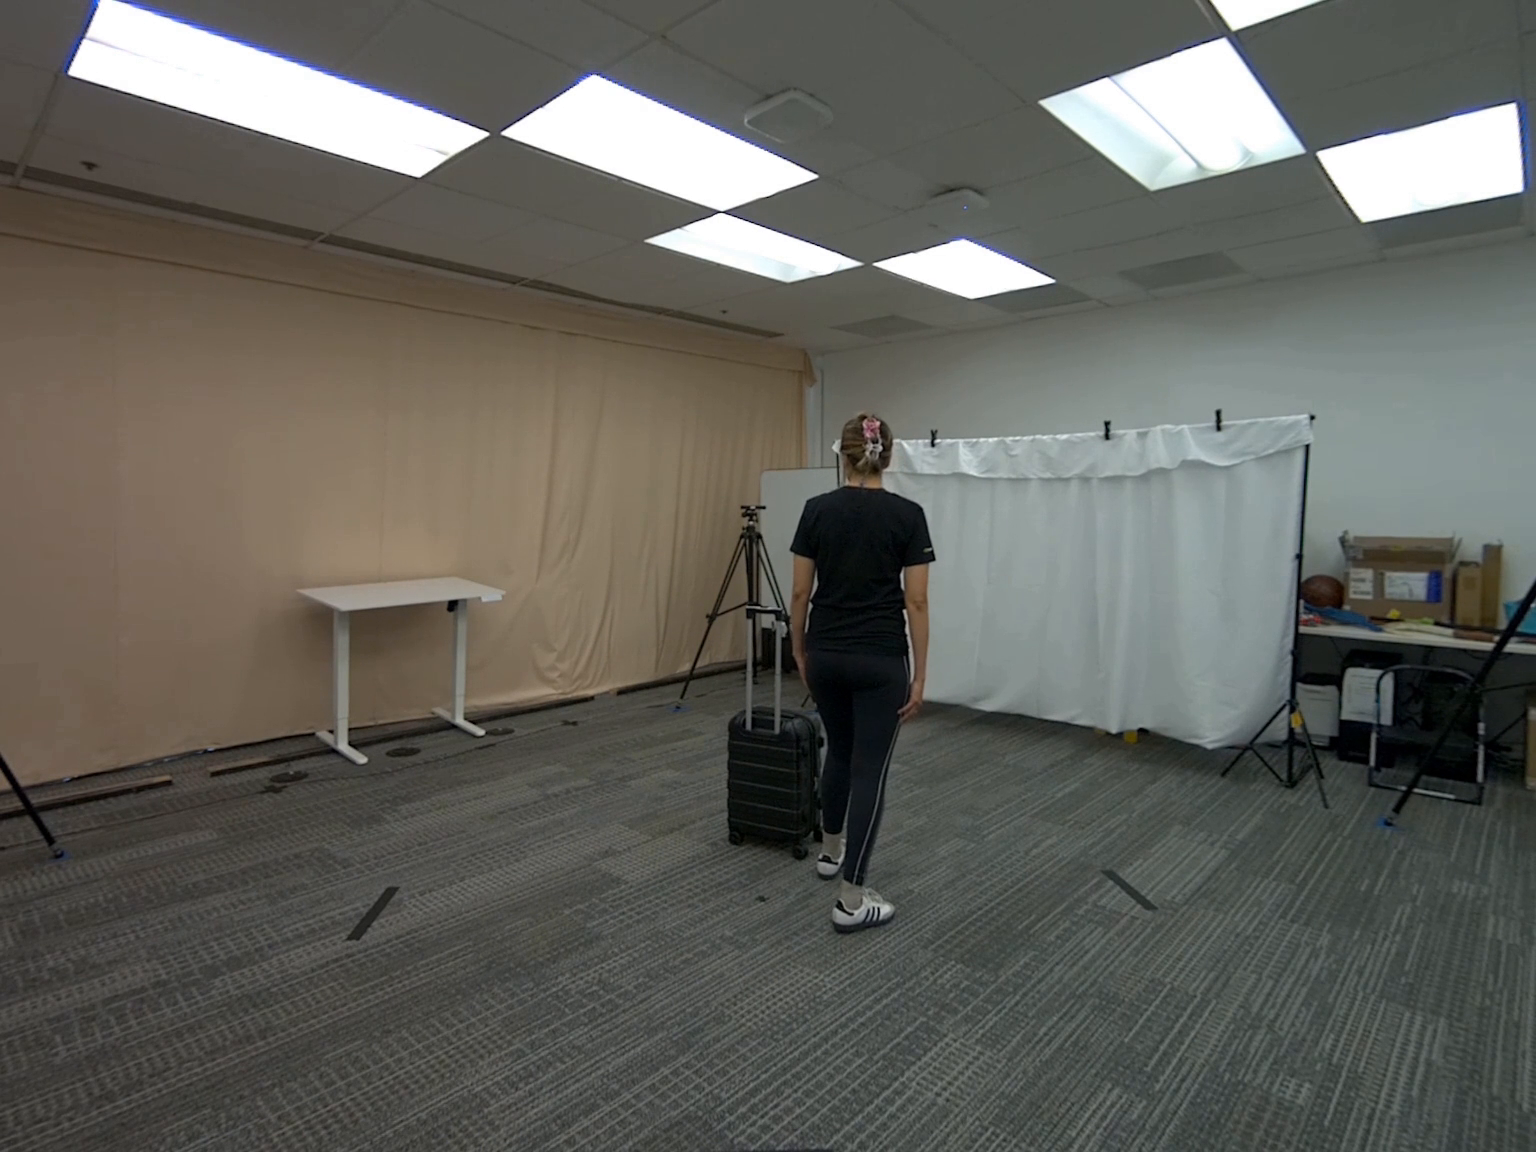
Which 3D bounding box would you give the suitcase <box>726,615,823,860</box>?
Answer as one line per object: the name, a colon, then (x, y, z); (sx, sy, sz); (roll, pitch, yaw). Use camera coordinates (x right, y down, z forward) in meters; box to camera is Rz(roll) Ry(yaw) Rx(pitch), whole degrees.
suitcase: (0.024, 0.621, 3.491); (0.394, 0.978, 0.250); (0, 0, 28)
